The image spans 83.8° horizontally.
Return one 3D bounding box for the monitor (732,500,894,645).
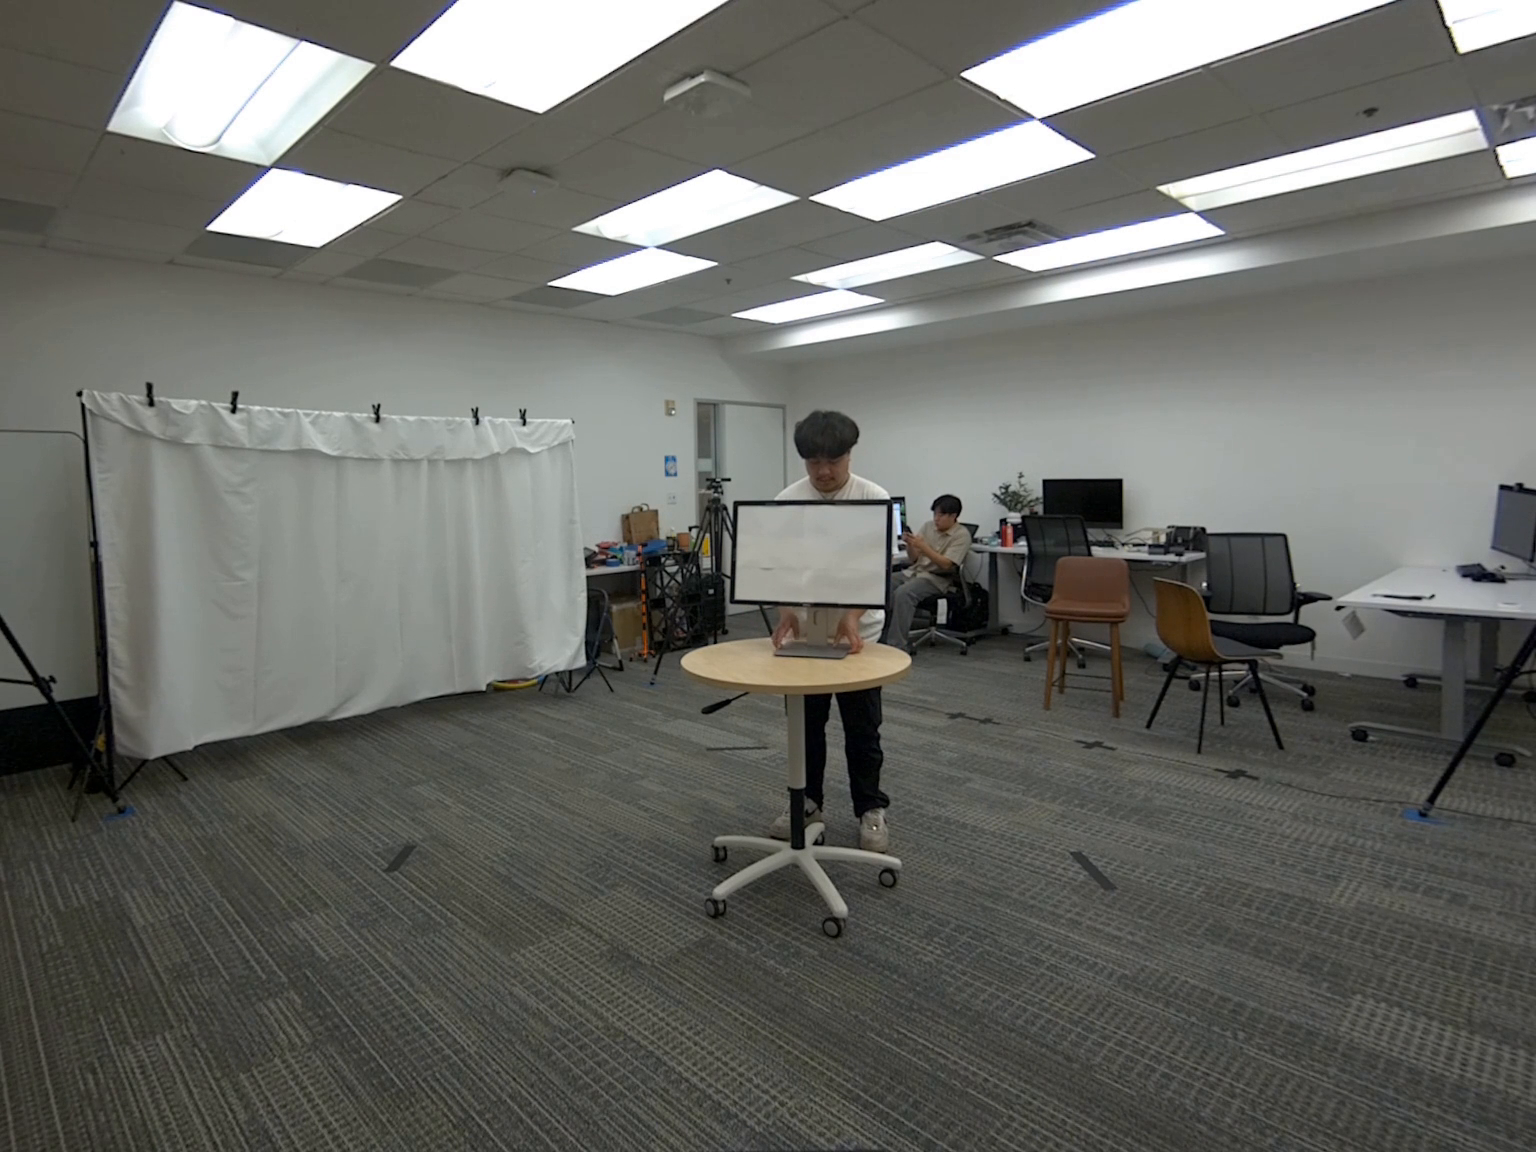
[{"bbox_3d":[0.181,0.009,2.963,0.577,0.554,0.206,1,0,21],"label":"monitor"}]
